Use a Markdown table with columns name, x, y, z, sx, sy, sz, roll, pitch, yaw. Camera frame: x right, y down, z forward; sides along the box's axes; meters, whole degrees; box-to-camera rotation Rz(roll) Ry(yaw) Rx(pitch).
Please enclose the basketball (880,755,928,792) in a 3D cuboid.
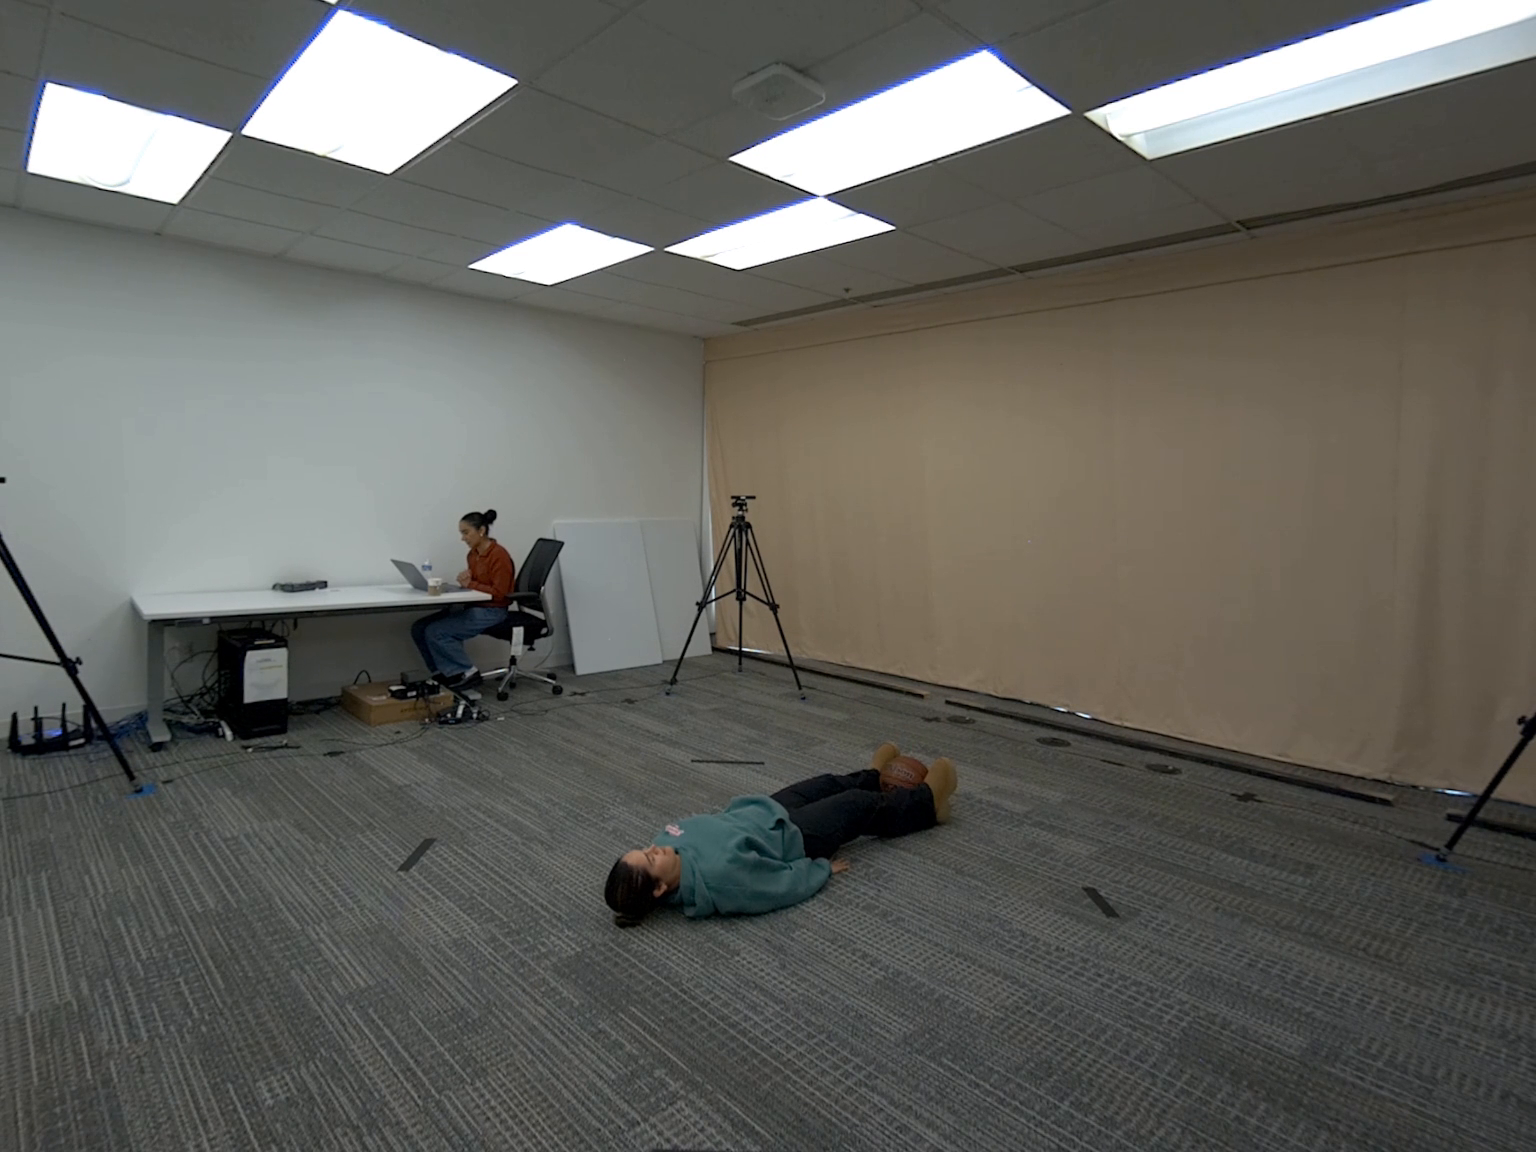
| name | x | y | z | sx | sy | sz | roll | pitch | yaw |
| --- | --- | --- | --- | --- | --- | --- | --- | --- | --- |
| basketball | 0.607 | 0.929 | 3.777 | 0.236 | 0.235 | 0.237 | 1 | 5 | -1 |
